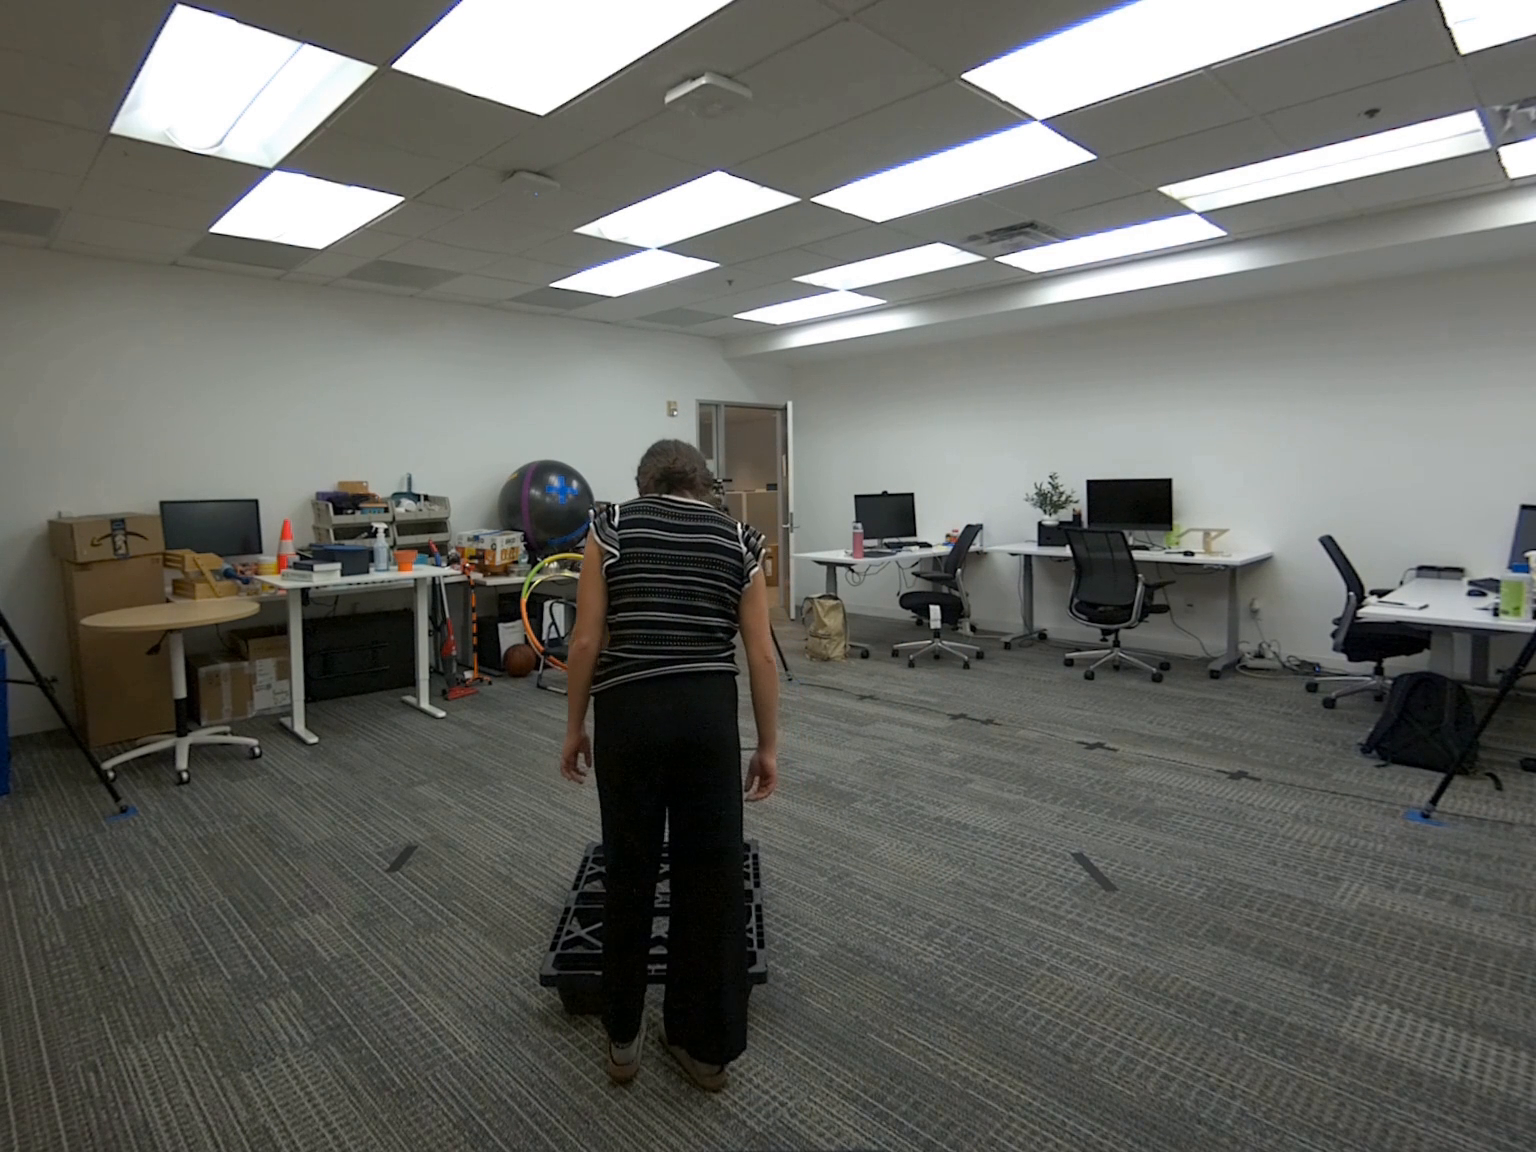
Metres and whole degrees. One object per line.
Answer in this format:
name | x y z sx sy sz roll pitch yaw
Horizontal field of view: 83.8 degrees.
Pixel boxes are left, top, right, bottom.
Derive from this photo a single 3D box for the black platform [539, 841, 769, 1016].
black platform | -0.310 1.041 2.602 0.605 0.142 0.810 -2 7 -1
